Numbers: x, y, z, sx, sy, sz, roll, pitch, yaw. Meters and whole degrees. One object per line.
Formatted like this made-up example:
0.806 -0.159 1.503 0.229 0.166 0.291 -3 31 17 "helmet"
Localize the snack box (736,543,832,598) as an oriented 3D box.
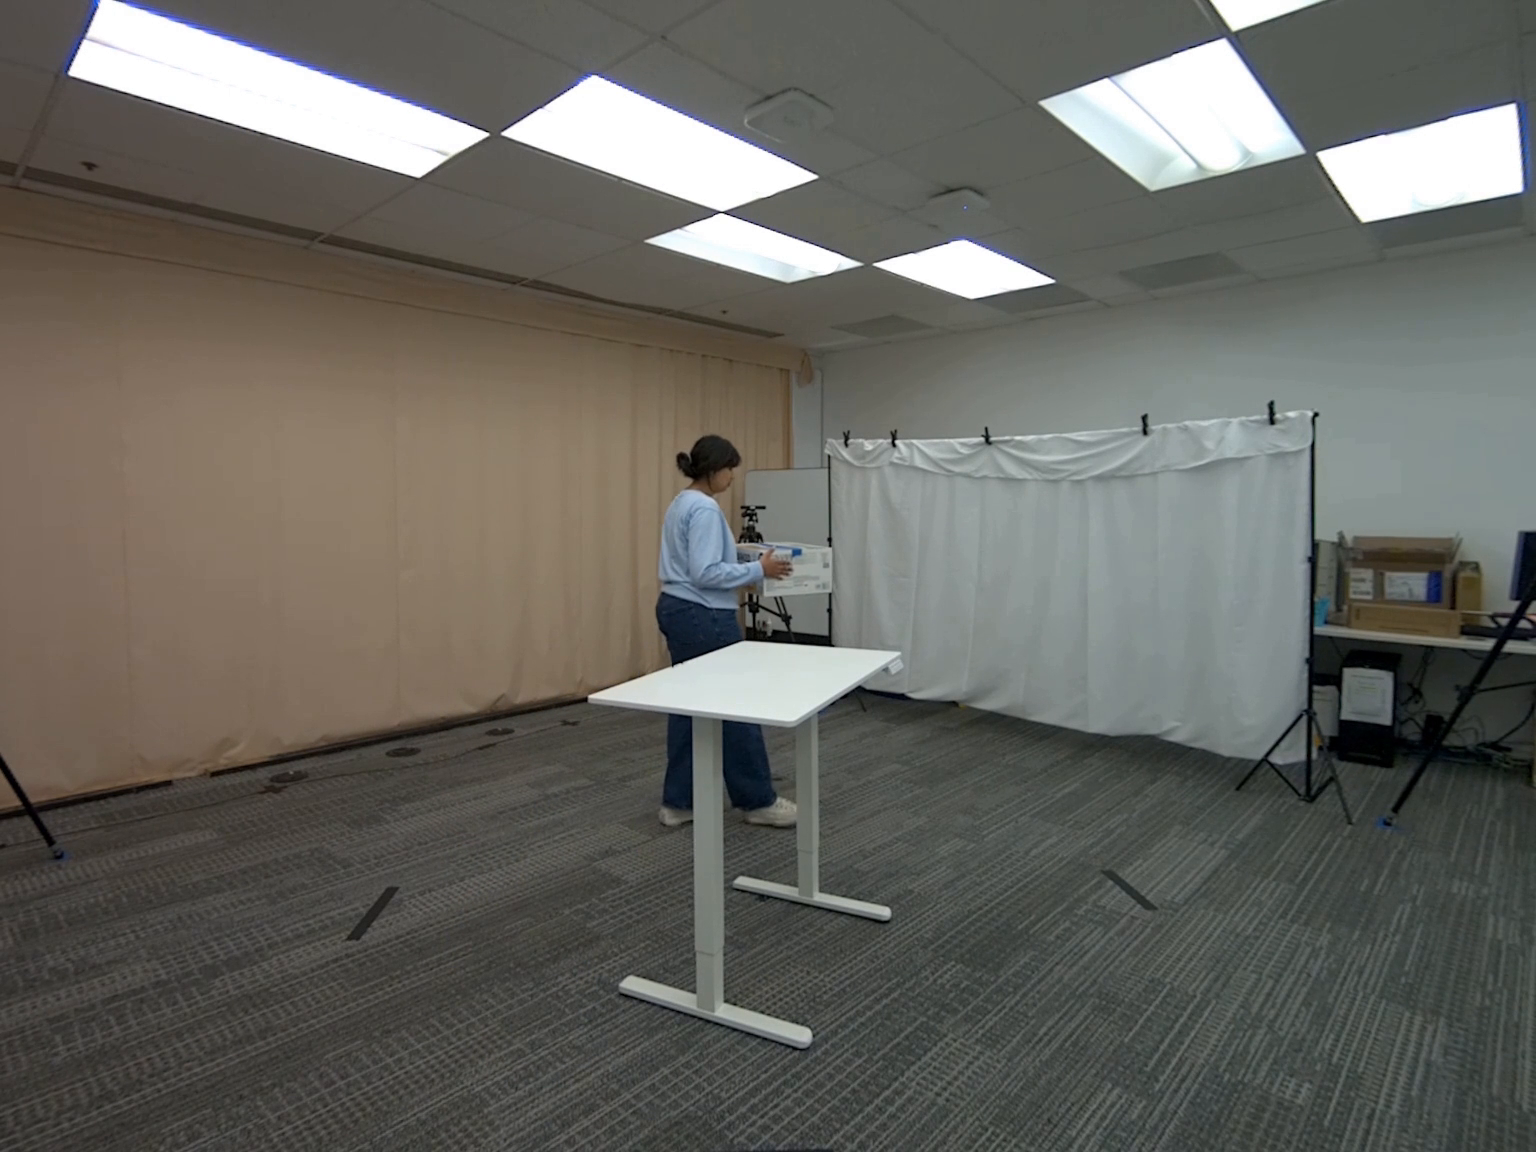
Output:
0.048 -0.036 3.845 0.333 0.205 0.416 -4 7 -25 "snack box"
